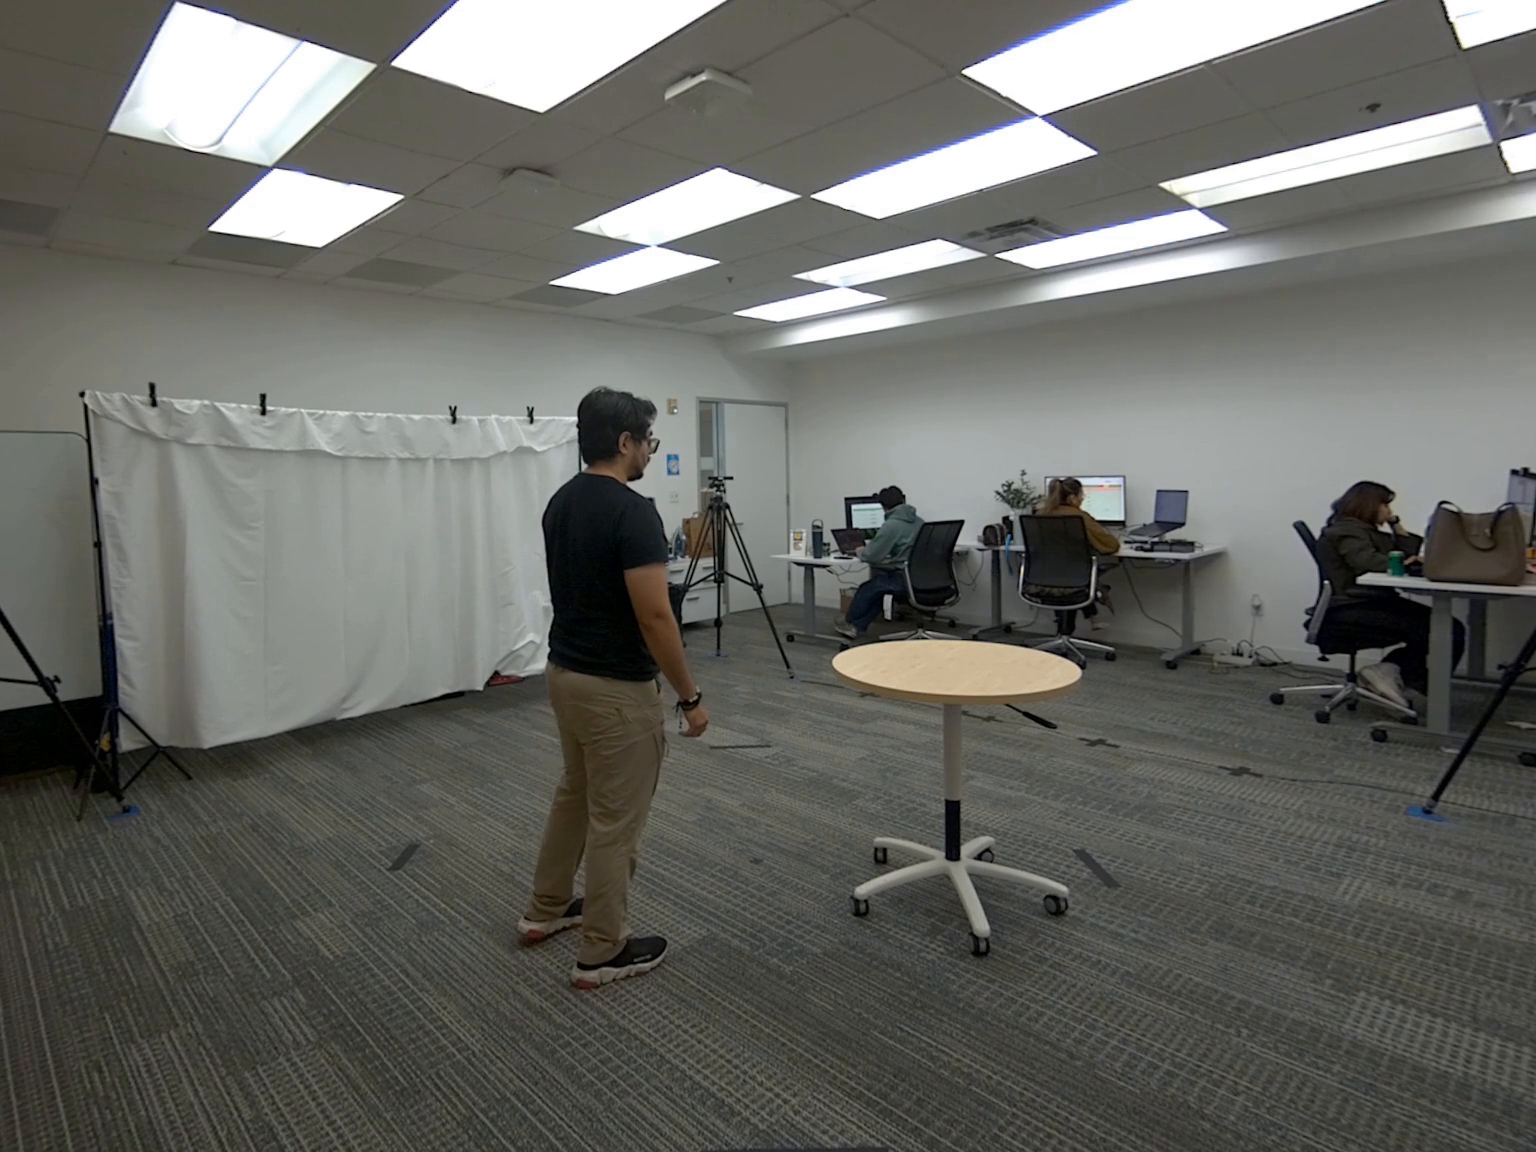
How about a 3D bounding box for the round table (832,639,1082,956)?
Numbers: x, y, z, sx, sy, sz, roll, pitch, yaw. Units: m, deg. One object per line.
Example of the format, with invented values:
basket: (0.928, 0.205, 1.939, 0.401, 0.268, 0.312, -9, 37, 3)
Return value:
round table: (0.611, 0.671, 2.763, 0.784, 0.783, 0.789, -1, 6, -2)
